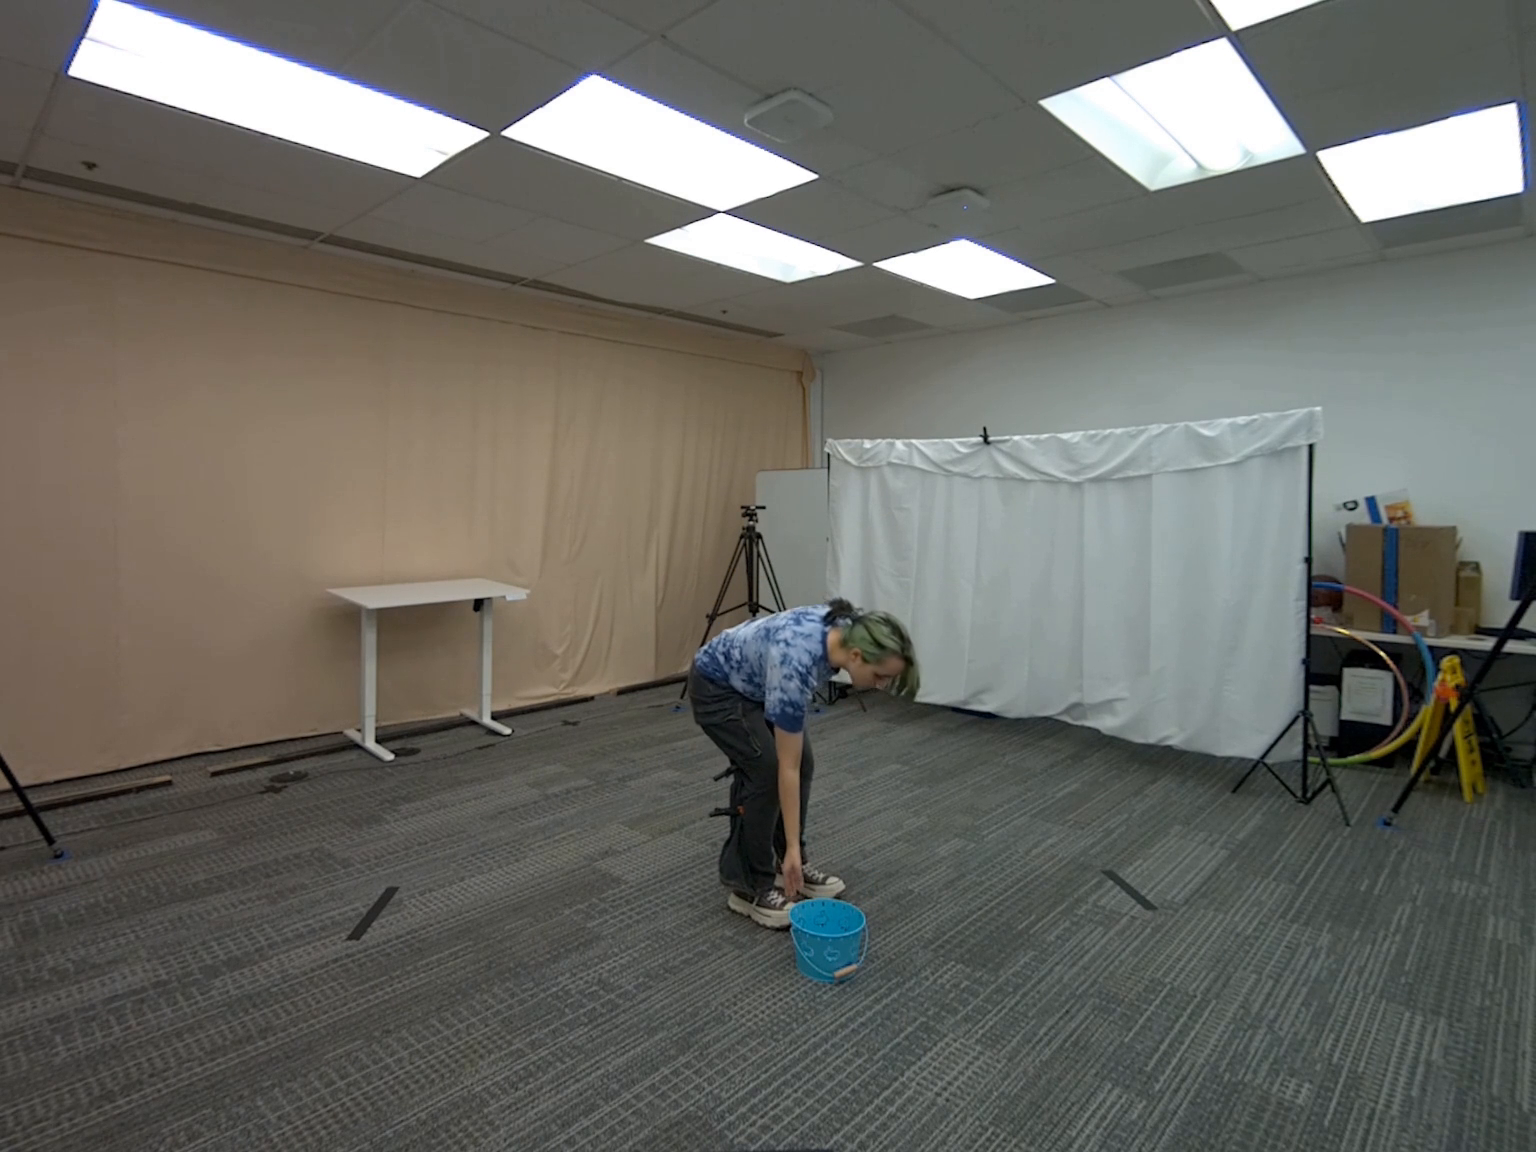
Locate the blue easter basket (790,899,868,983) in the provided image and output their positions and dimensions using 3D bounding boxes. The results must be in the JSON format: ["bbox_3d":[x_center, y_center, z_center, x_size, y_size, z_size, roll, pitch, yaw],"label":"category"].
[{"bbox_3d":[0.180,1.101,2.540,0.243,0.155,0.244,0,4,-2],"label":"blue easter basket"}]
